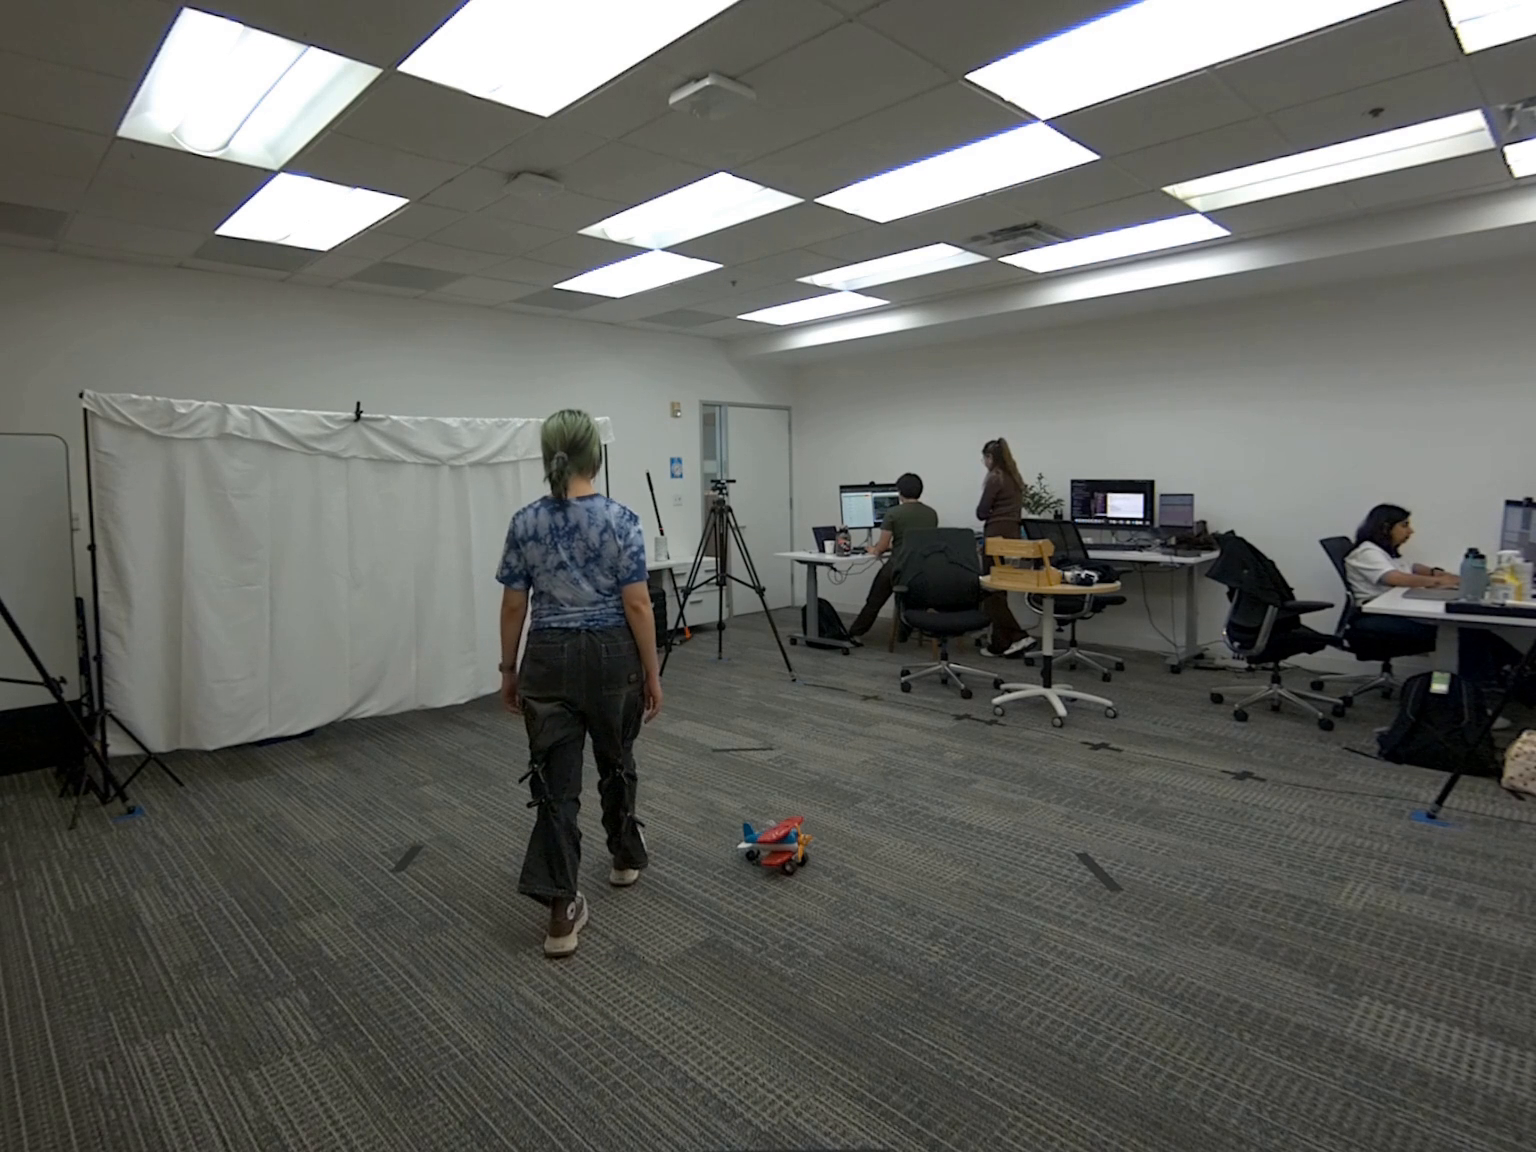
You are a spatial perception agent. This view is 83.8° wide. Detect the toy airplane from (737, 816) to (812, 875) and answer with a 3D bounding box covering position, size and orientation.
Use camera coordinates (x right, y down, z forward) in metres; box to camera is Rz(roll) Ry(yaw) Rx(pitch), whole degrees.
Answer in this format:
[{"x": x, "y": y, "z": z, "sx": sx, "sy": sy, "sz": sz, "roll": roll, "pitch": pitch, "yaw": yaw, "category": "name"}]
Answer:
[{"x": 0.019, "y": 0.972, "z": 3.082, "sx": 0.260, "sy": 0.156, "sz": 0.251, "roll": 1, "pitch": 5, "yaw": 4, "category": "toy airplane"}]
